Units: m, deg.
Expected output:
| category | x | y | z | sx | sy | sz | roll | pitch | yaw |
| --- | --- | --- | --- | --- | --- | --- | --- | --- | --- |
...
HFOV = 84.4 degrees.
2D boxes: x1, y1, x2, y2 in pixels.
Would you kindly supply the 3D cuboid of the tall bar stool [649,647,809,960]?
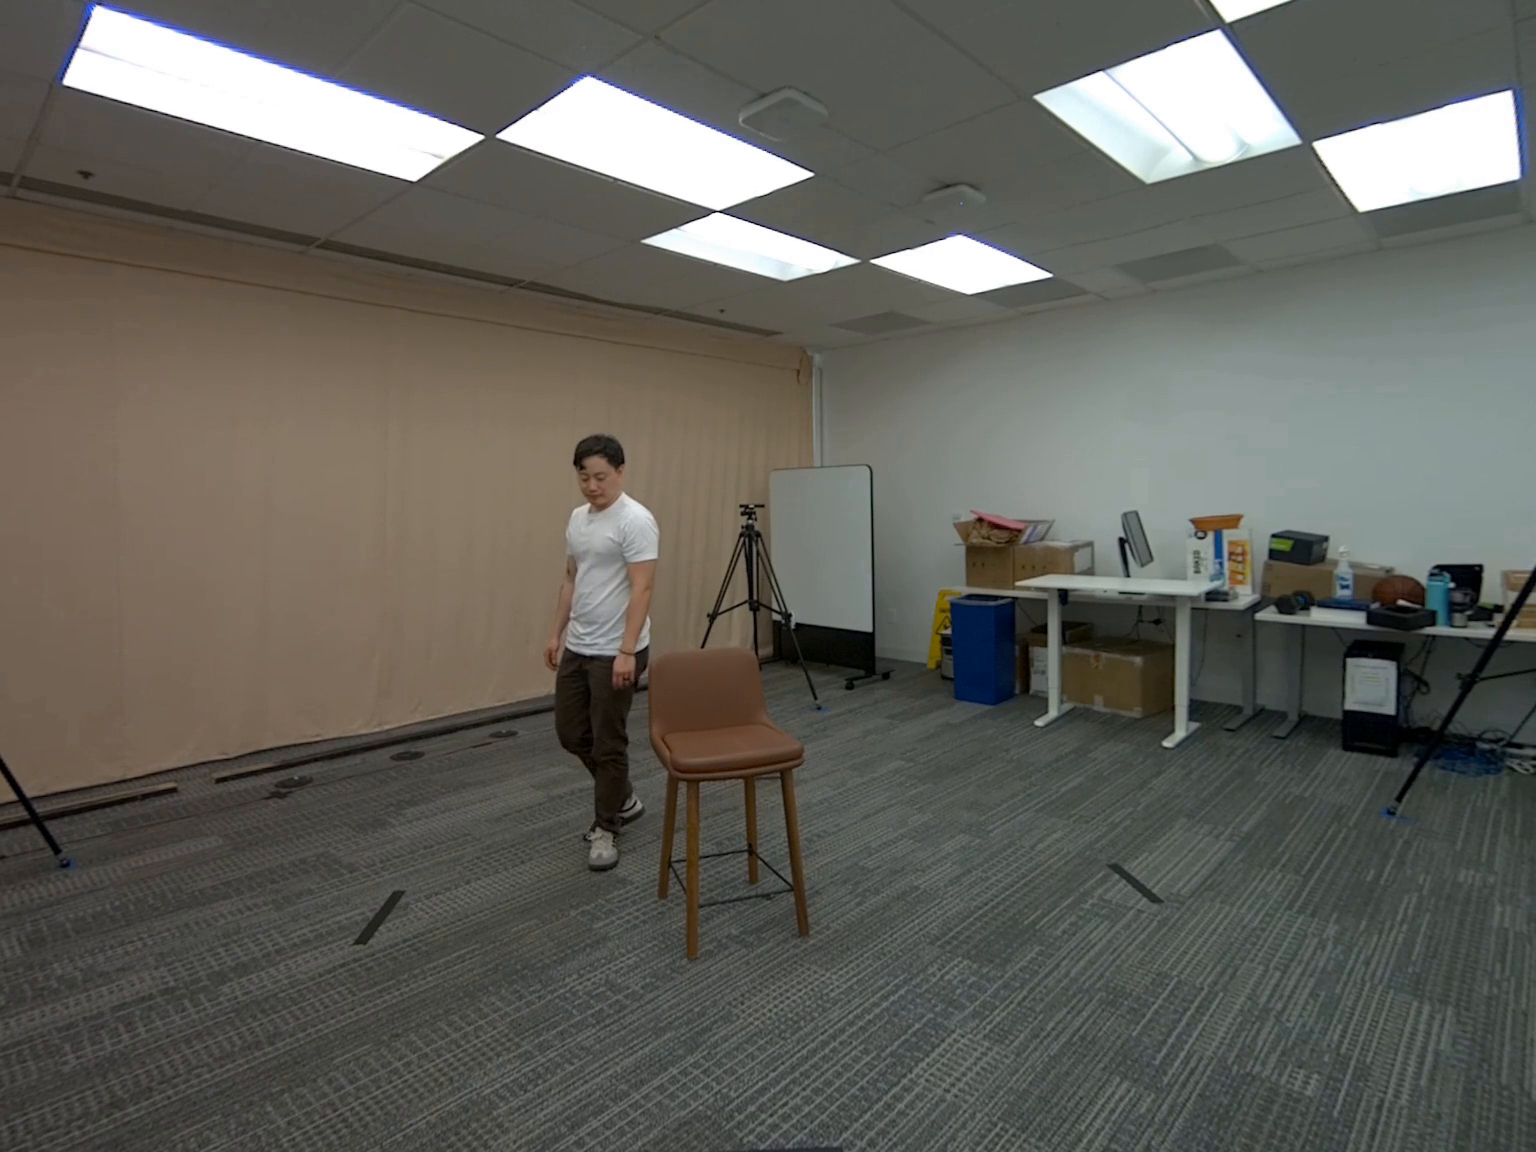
| category | x | y | z | sx | sy | sz | roll | pitch | yaw |
| --- | --- | --- | --- | --- | --- | --- | --- | --- | --- |
| tall bar stool | -0.146 | 0.719 | 2.838 | 0.447 | 0.889 | 0.477 | -2 | 2 | -21 |
